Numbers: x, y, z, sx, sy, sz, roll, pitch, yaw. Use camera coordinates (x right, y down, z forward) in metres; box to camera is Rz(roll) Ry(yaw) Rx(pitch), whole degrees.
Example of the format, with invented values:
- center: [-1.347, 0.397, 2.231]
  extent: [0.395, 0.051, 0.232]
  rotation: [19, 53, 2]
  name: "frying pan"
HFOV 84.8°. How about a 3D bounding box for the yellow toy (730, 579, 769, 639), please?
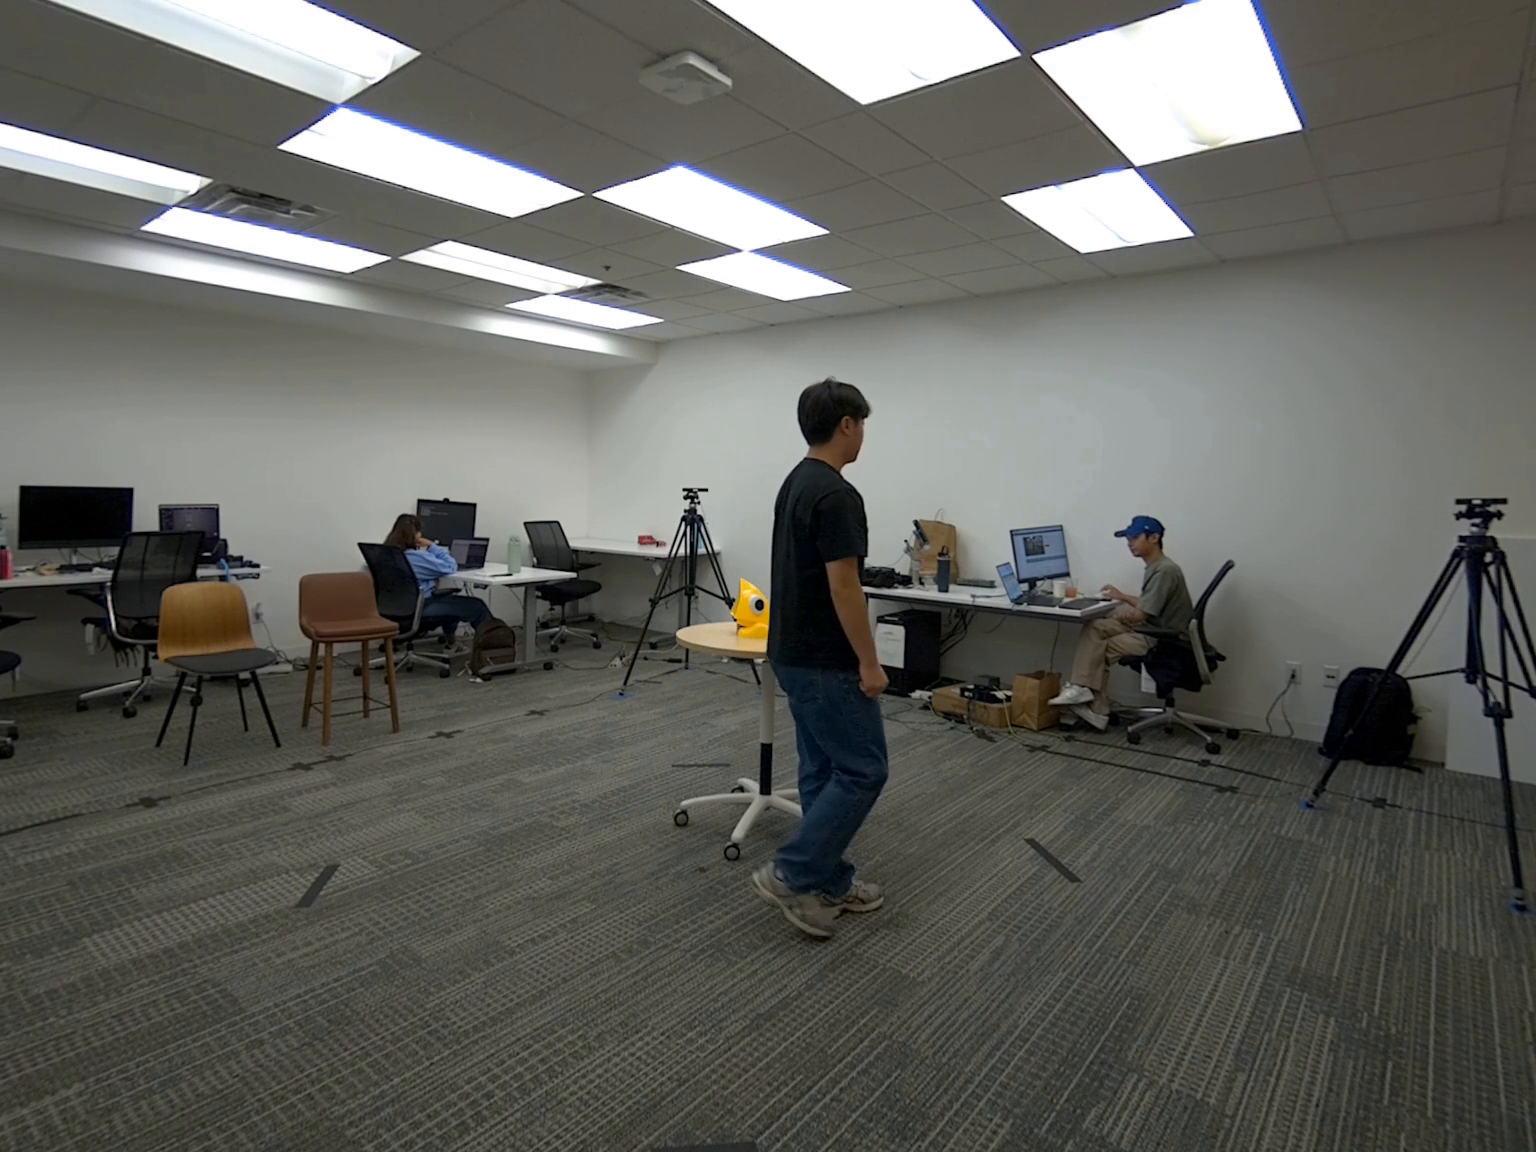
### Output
- center: [-0.063, 0.121, 3.506]
  extent: [0.192, 0.230, 0.207]
  rotation: [0, 4, -6]
  name: "yellow toy"
